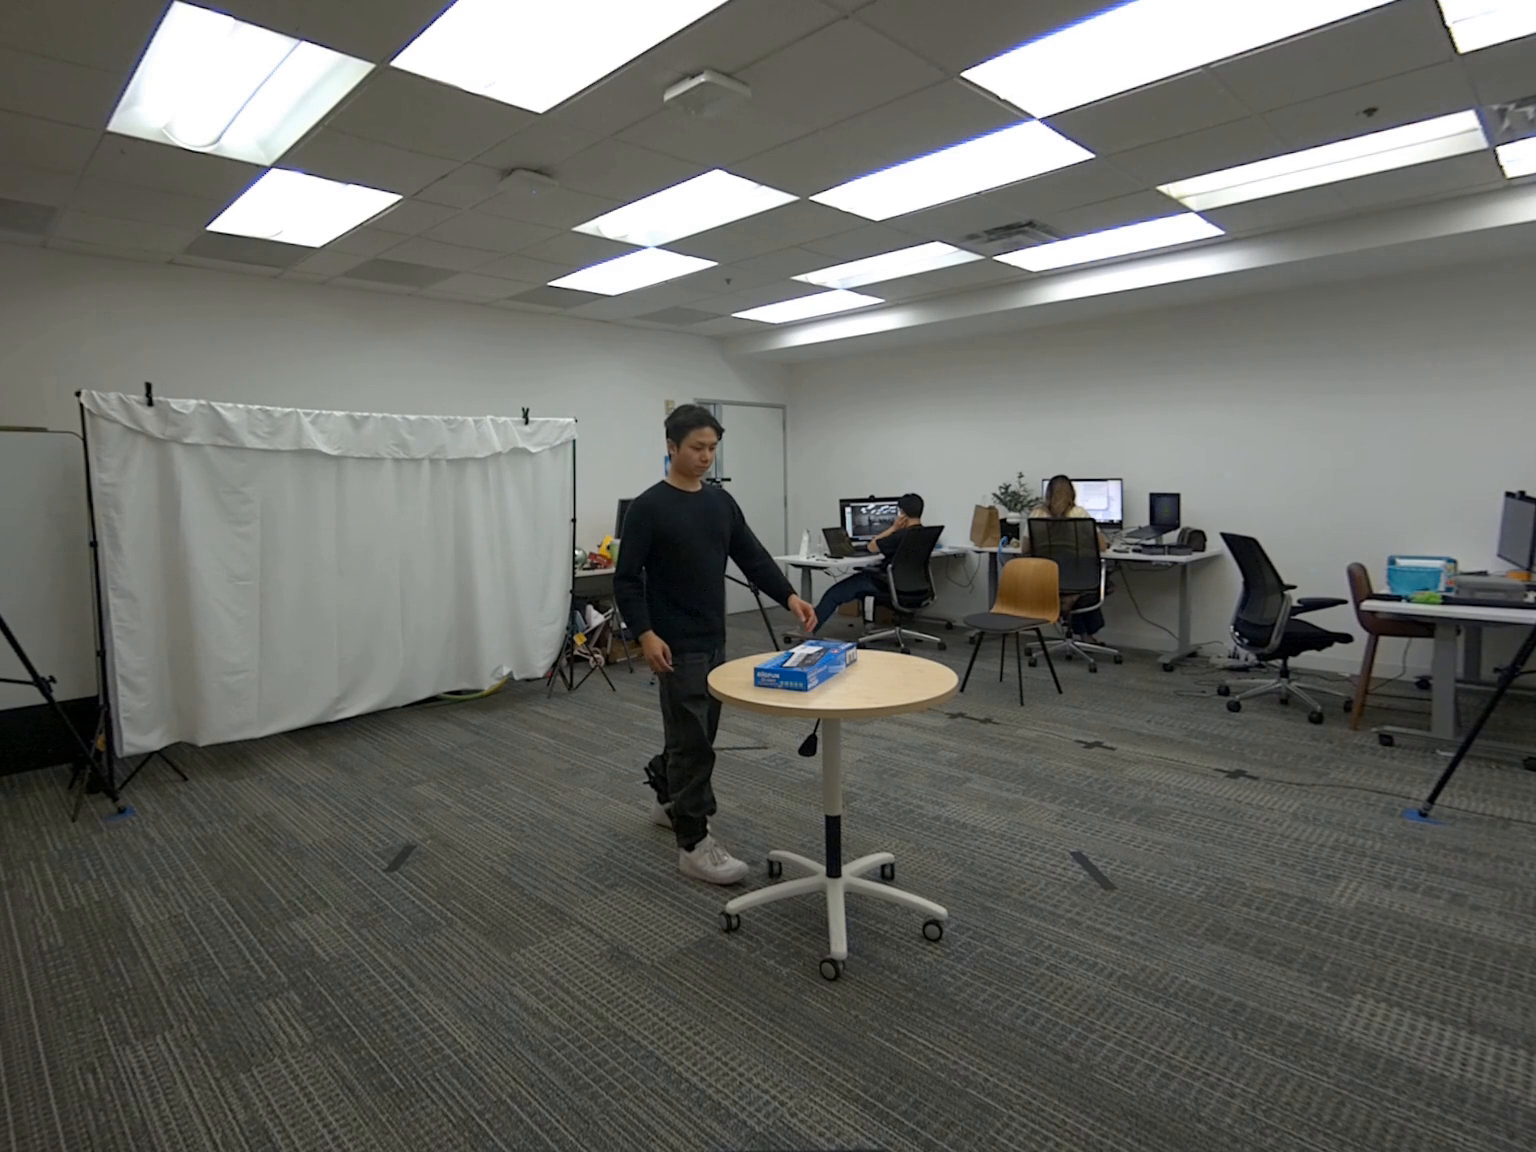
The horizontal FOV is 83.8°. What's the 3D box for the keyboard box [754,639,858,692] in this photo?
[{"bbox_3d":[0.126,0.275,2.686,0.180,0.059,0.429,2,8,25],"label":"keyboard box"}]
